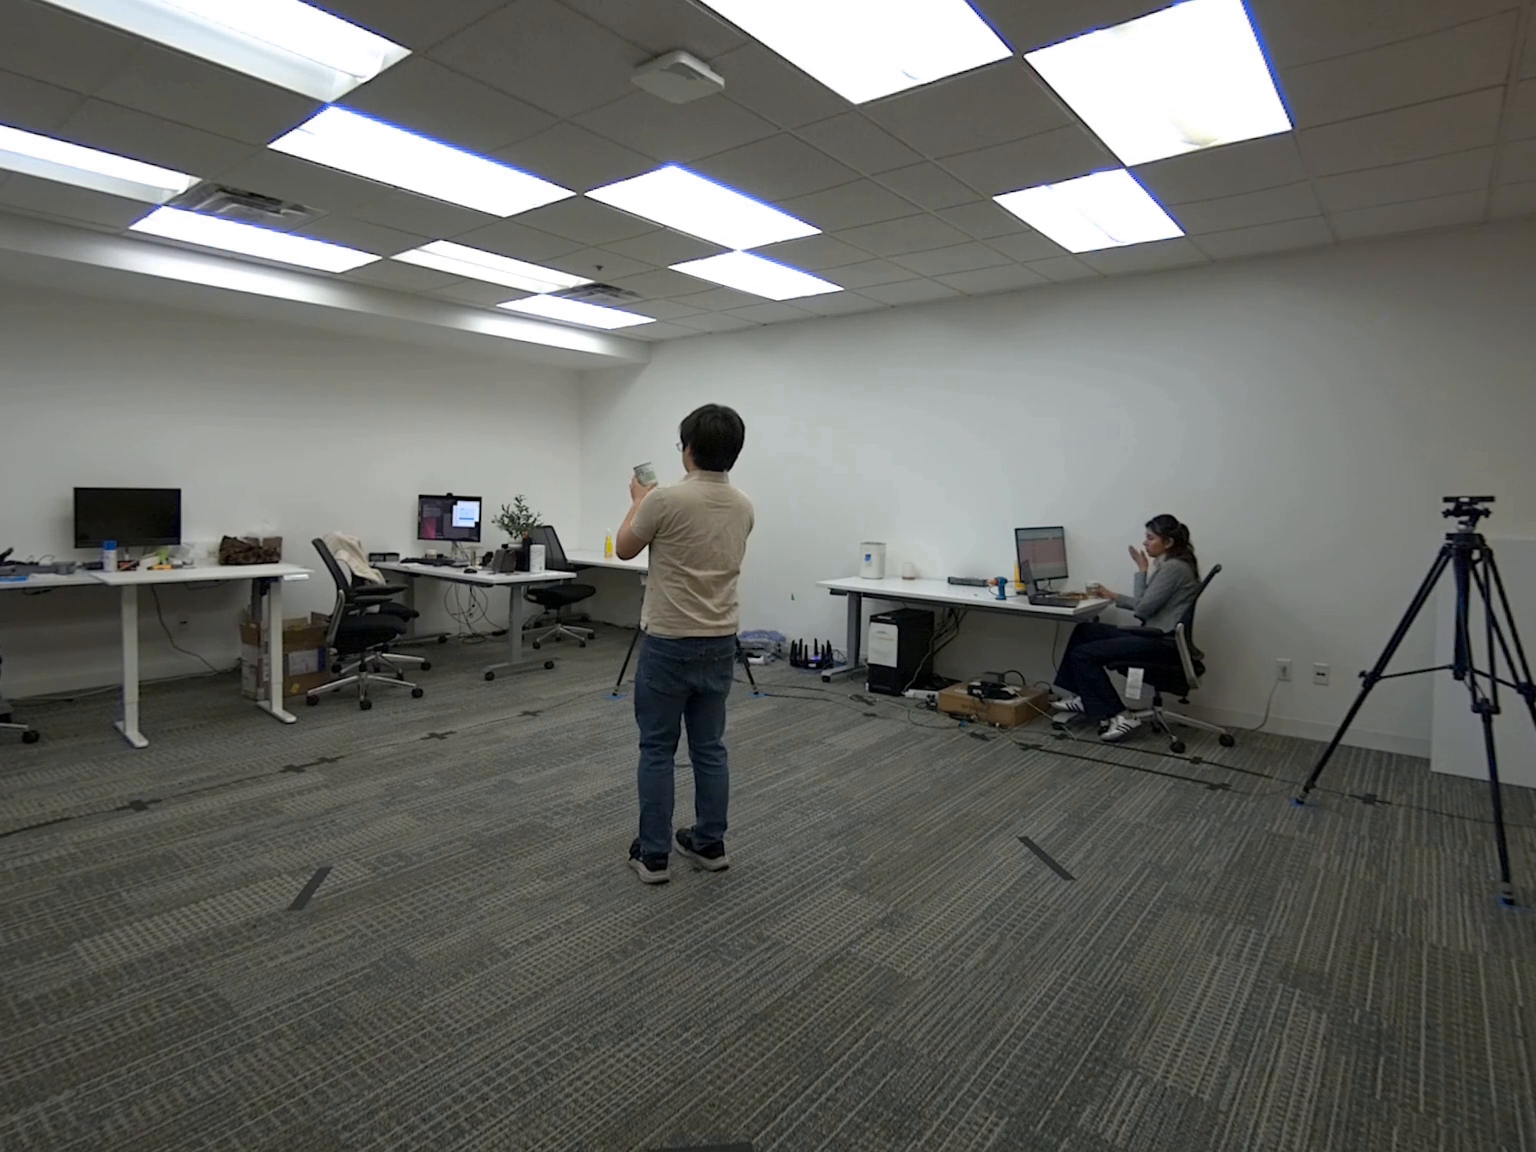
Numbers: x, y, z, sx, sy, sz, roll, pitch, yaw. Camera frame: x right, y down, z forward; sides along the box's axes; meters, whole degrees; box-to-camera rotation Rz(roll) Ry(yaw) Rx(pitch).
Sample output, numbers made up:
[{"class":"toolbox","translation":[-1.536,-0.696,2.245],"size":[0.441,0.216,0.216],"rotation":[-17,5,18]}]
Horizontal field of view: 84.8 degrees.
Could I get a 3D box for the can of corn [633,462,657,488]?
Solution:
[{"class":"can of corn","translation":[-0.488,-0.388,3.341],"size":[0.074,0.111,0.074],"rotation":[-15,2,-1]}]
